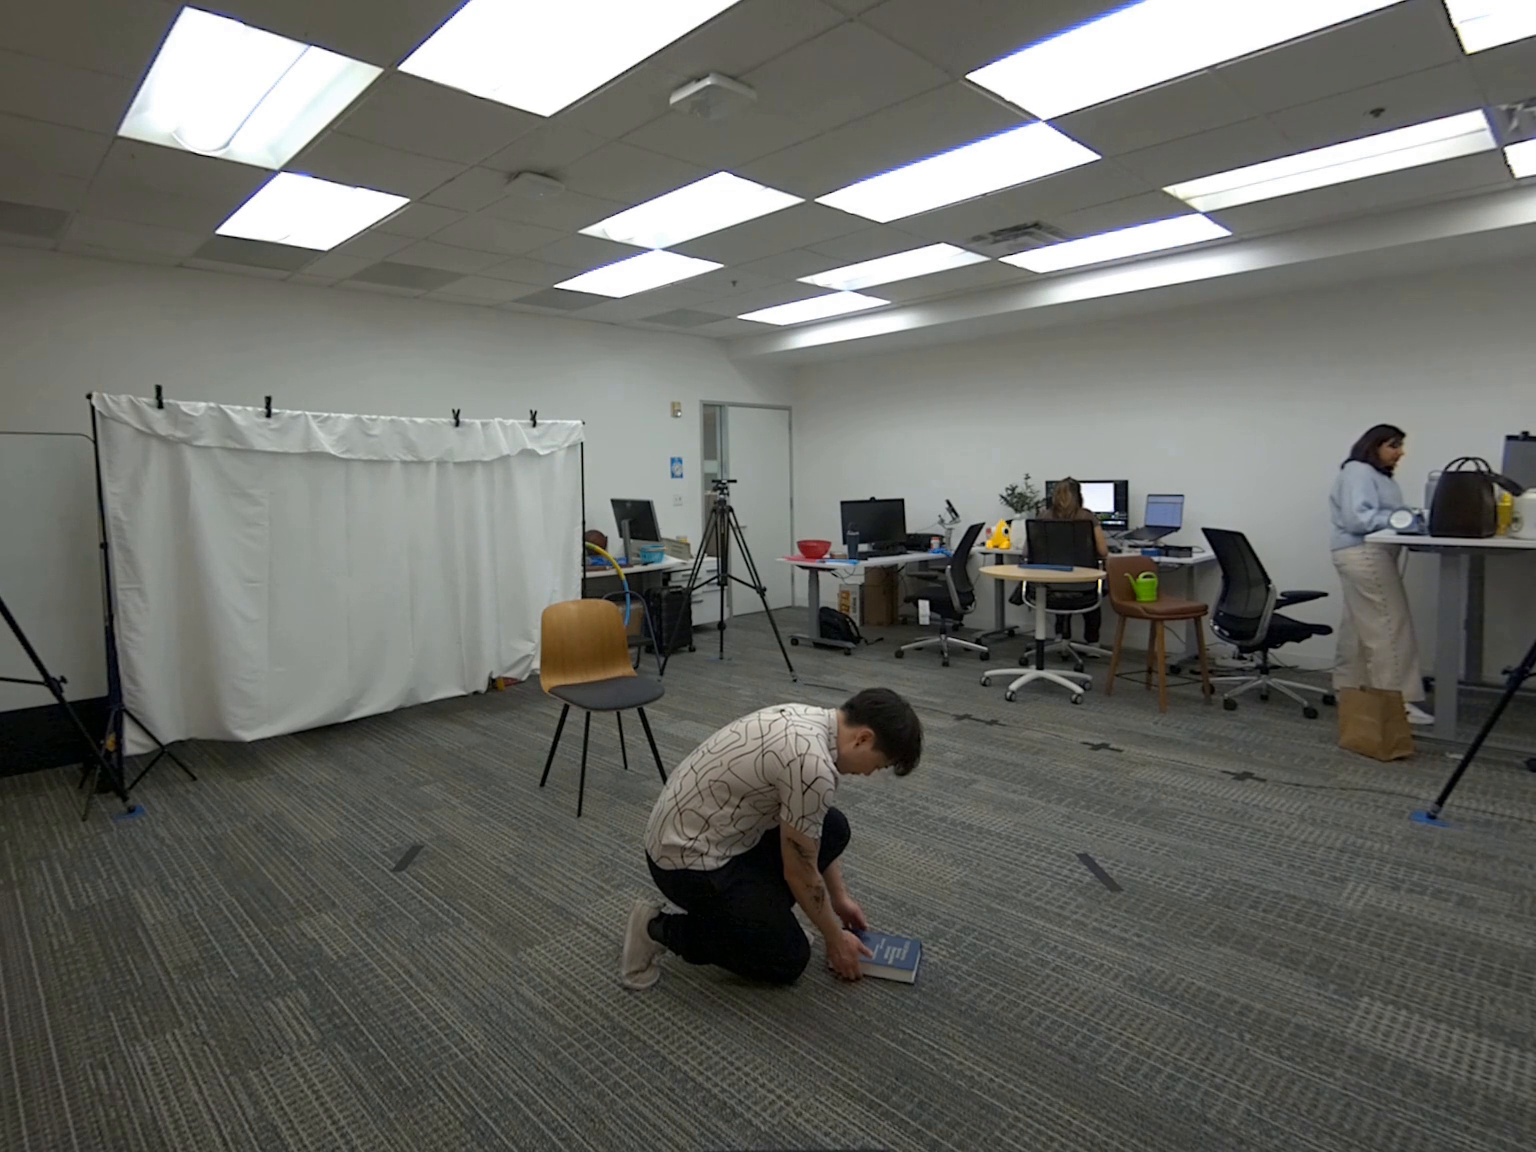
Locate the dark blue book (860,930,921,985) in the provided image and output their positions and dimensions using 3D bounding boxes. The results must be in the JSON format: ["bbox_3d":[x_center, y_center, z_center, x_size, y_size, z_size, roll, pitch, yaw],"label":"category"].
[{"bbox_3d":[0.313,1.086,2.458,0.250,0.045,0.161,2,7,20],"label":"dark blue book"}]
